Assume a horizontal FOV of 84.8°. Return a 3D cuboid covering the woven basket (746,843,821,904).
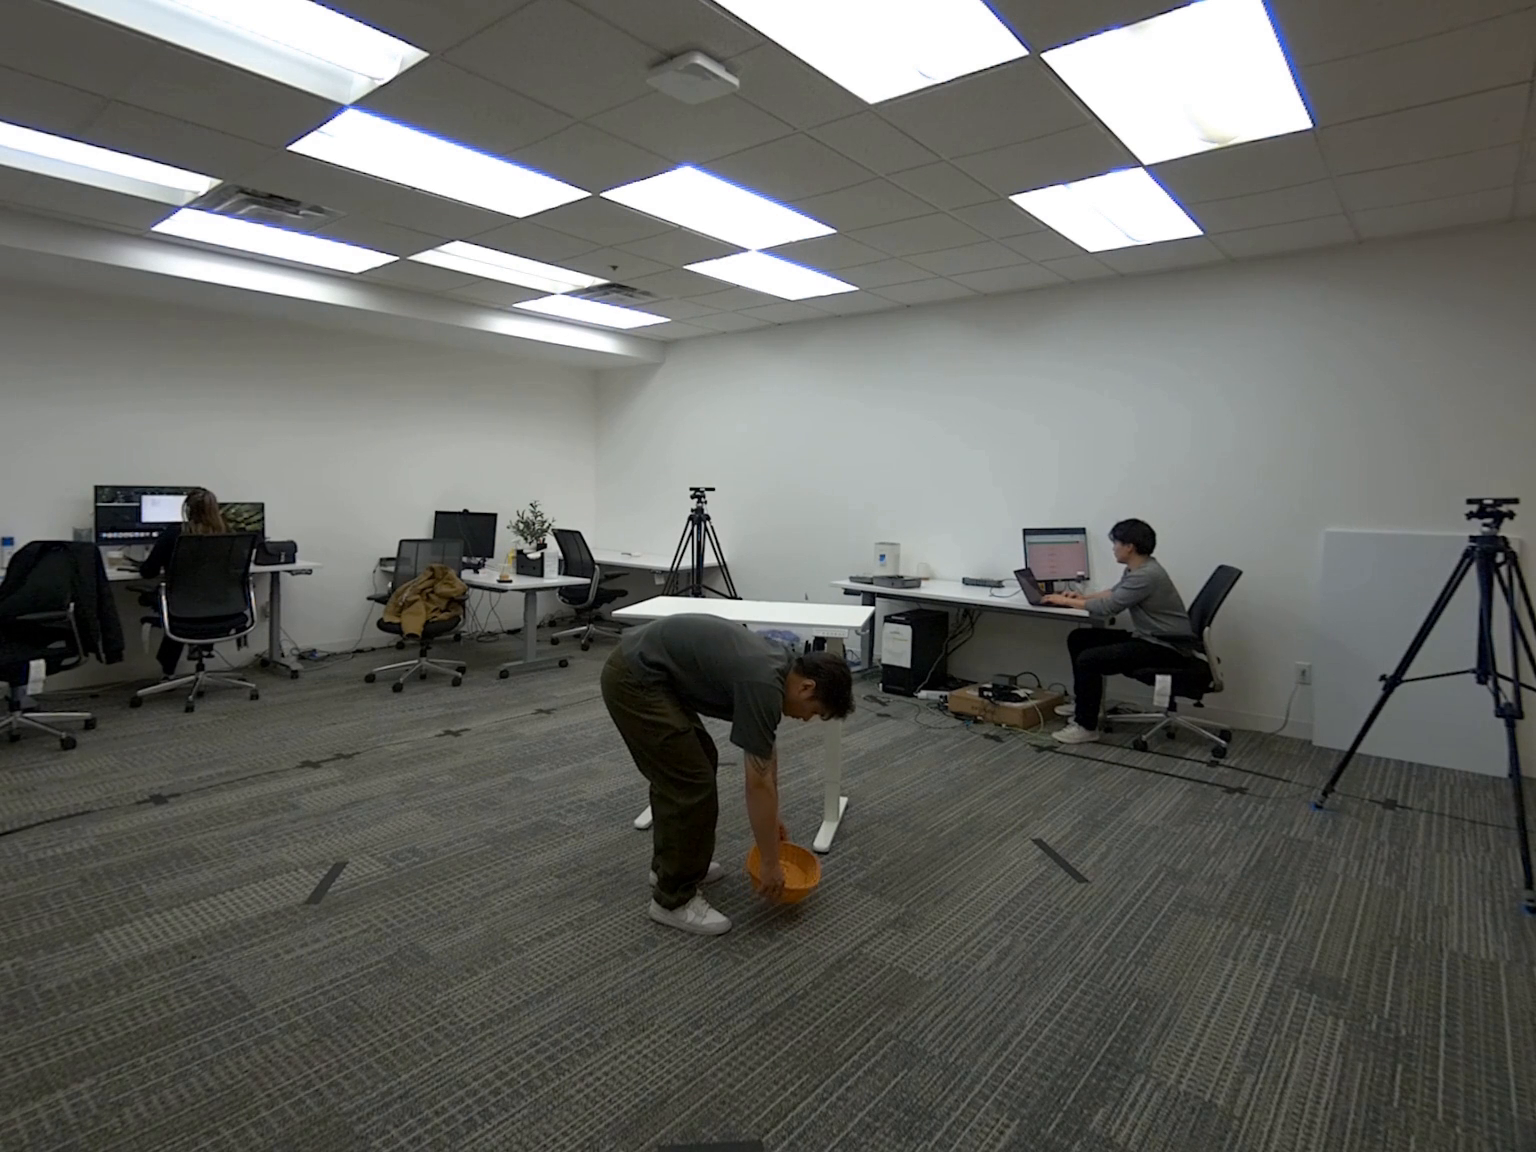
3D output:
[{"bbox_3d":[0.038,0.996,2.829,0.255,0.073,0.348,9,6,8],"label":"woven basket"}]
